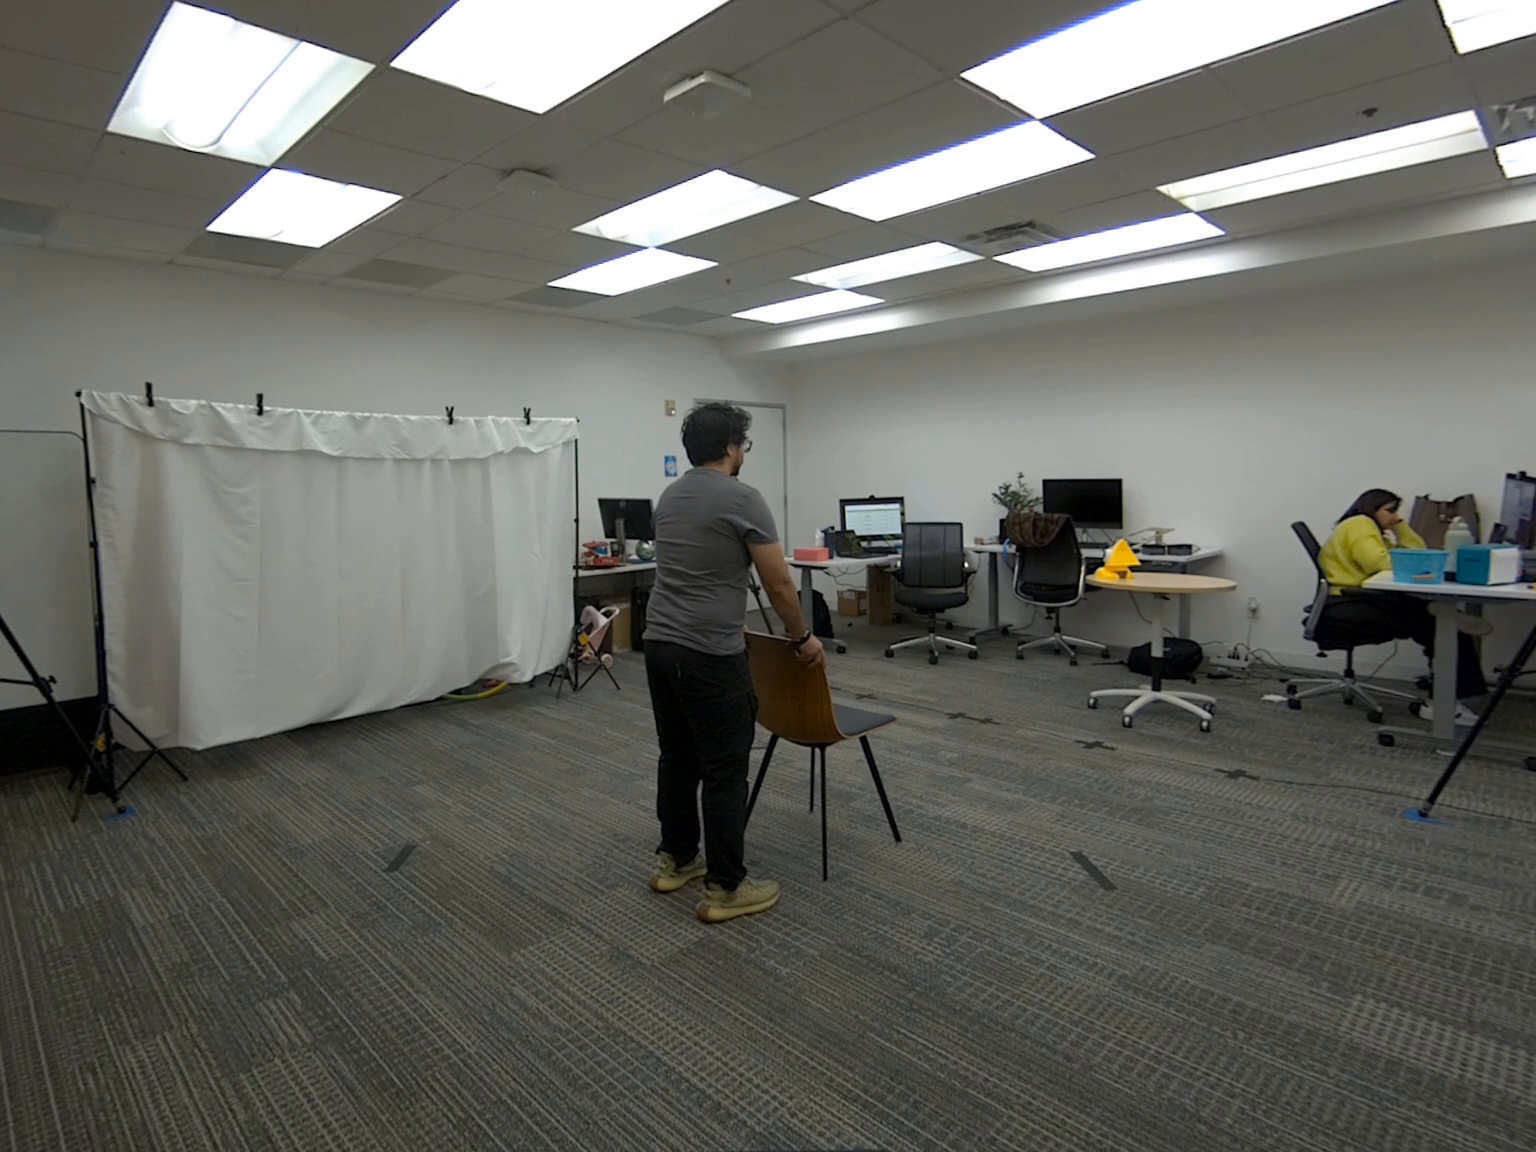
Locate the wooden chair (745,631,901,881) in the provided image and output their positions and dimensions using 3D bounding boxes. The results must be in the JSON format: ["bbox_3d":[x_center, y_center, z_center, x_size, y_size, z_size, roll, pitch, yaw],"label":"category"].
[{"bbox_3d":[0.190,0.592,3.243,0.493,0.871,0.511,3,11,45],"label":"wooden chair"}]
